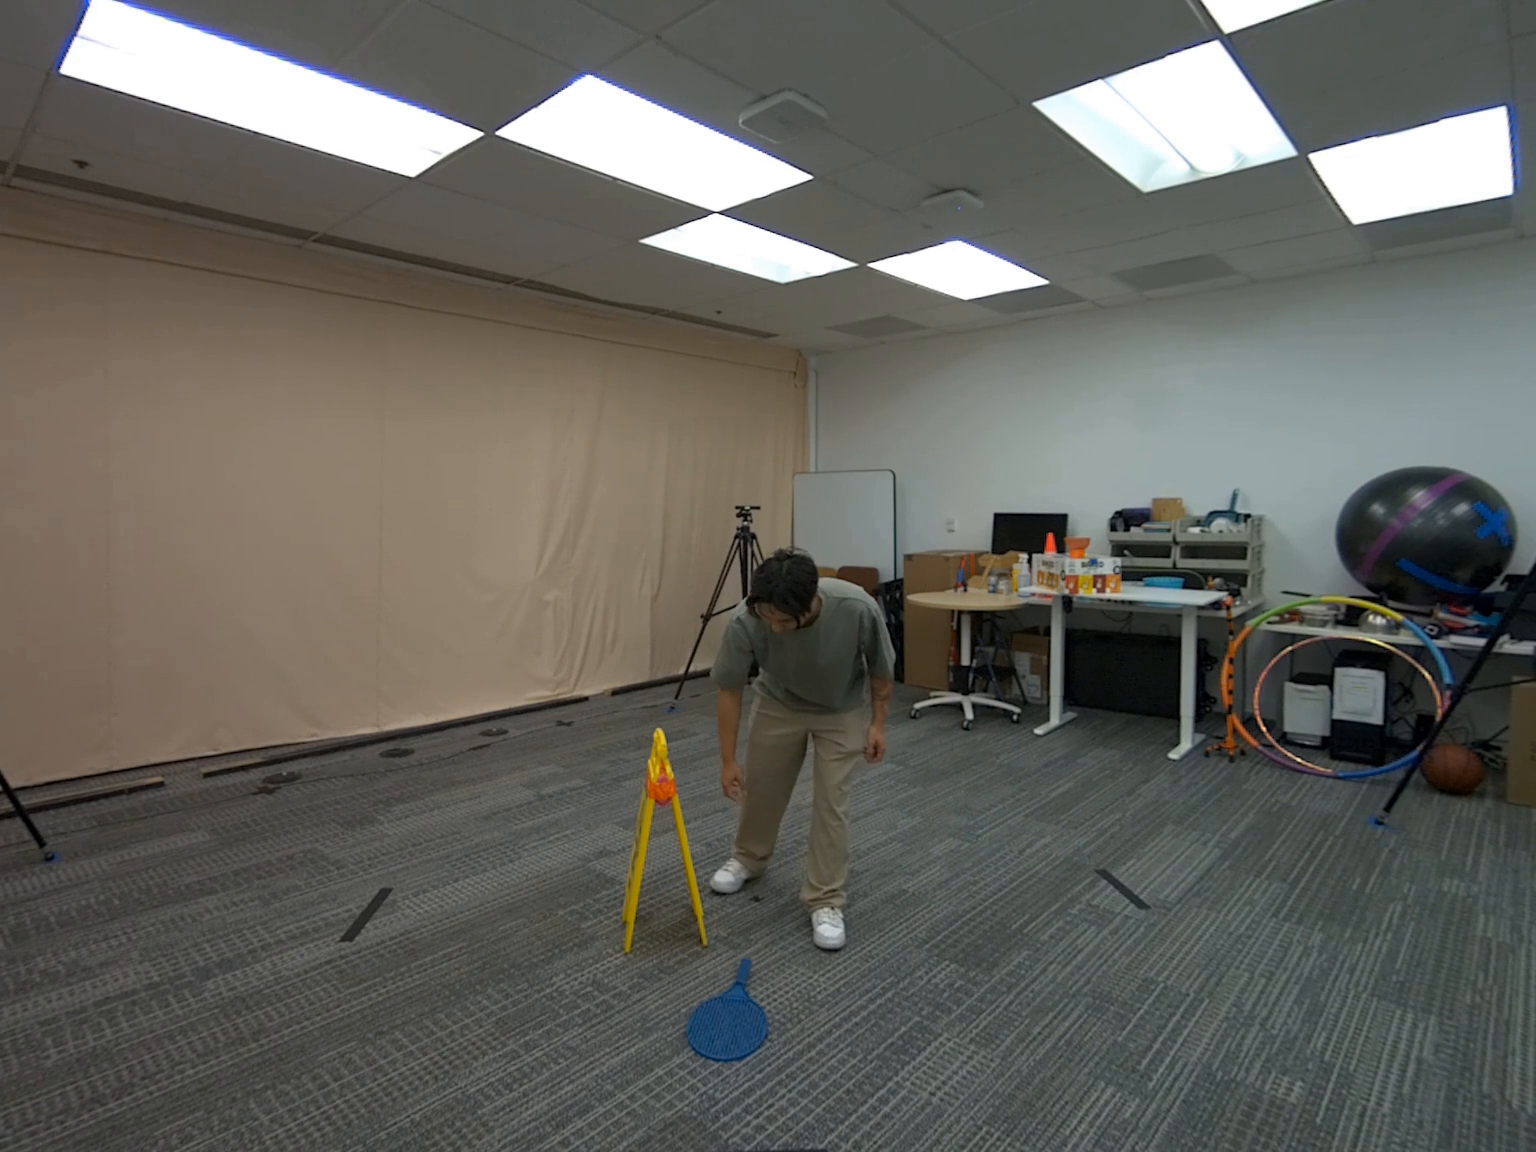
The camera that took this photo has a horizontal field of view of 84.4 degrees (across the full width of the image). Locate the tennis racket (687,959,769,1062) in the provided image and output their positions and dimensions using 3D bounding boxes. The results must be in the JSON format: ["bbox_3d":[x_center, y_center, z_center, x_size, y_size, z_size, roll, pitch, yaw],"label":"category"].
[{"bbox_3d":[-0.096,1.187,2.319,0.216,0.031,0.429,1,7,11],"label":"tennis racket"}]
